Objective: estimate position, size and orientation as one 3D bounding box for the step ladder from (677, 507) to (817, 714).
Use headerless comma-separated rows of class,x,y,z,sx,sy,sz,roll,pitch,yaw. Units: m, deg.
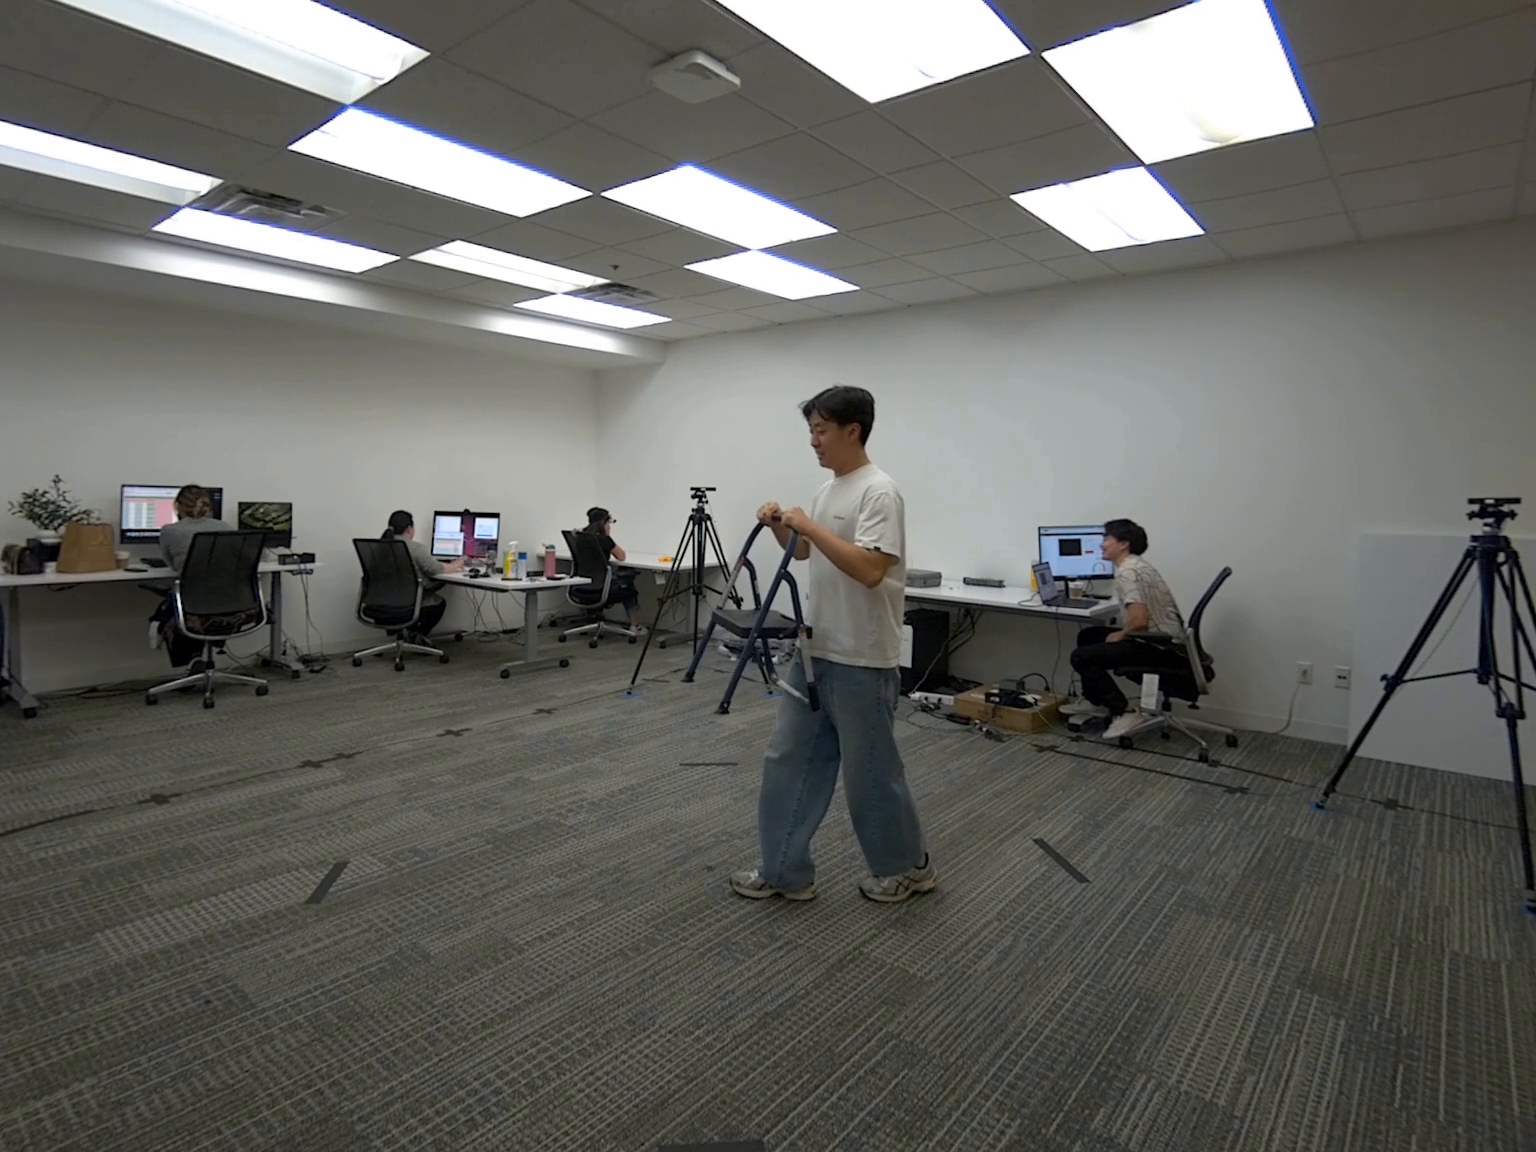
step ladder,-0.055,0.097,2.799,0.342,0.604,0.441,4,5,-20
